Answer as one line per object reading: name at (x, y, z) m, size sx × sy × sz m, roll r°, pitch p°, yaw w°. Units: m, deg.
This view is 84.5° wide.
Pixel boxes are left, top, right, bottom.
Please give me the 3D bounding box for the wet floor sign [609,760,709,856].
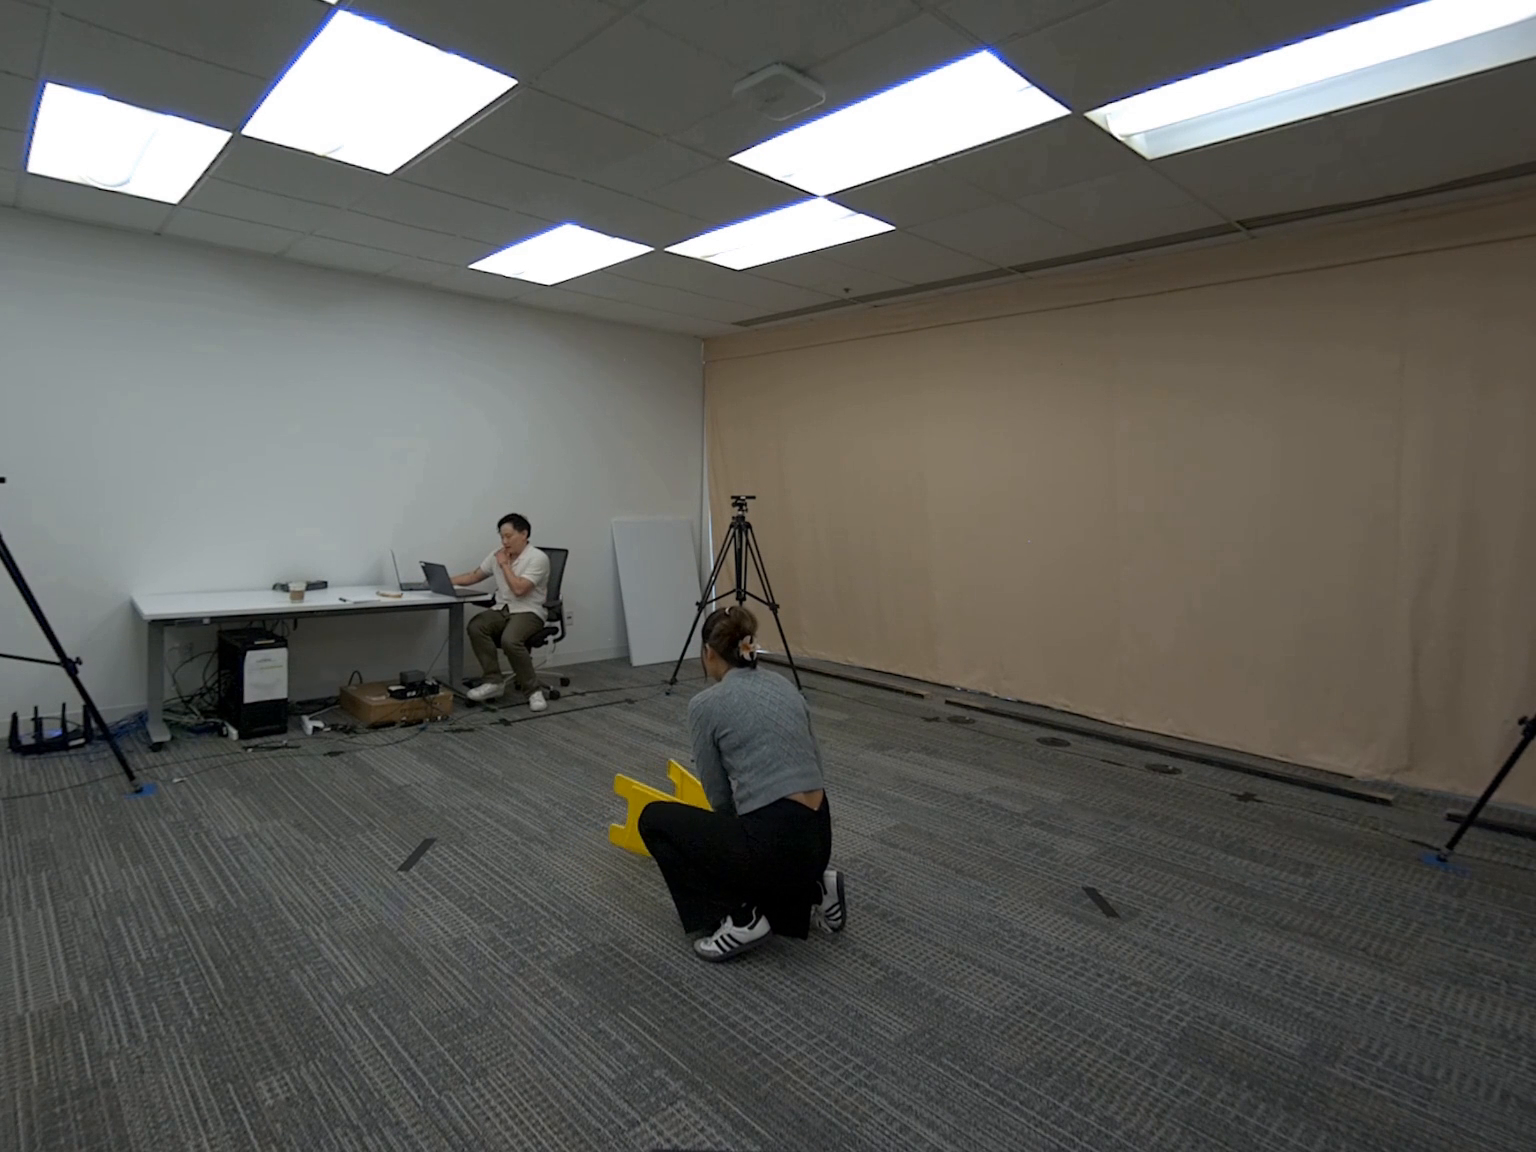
wet floor sign at (-0.273, 0.964, 3.169) m, size 0.664 × 0.281 × 0.283 m, roll 14°, pitch 11°, yaw 41°
